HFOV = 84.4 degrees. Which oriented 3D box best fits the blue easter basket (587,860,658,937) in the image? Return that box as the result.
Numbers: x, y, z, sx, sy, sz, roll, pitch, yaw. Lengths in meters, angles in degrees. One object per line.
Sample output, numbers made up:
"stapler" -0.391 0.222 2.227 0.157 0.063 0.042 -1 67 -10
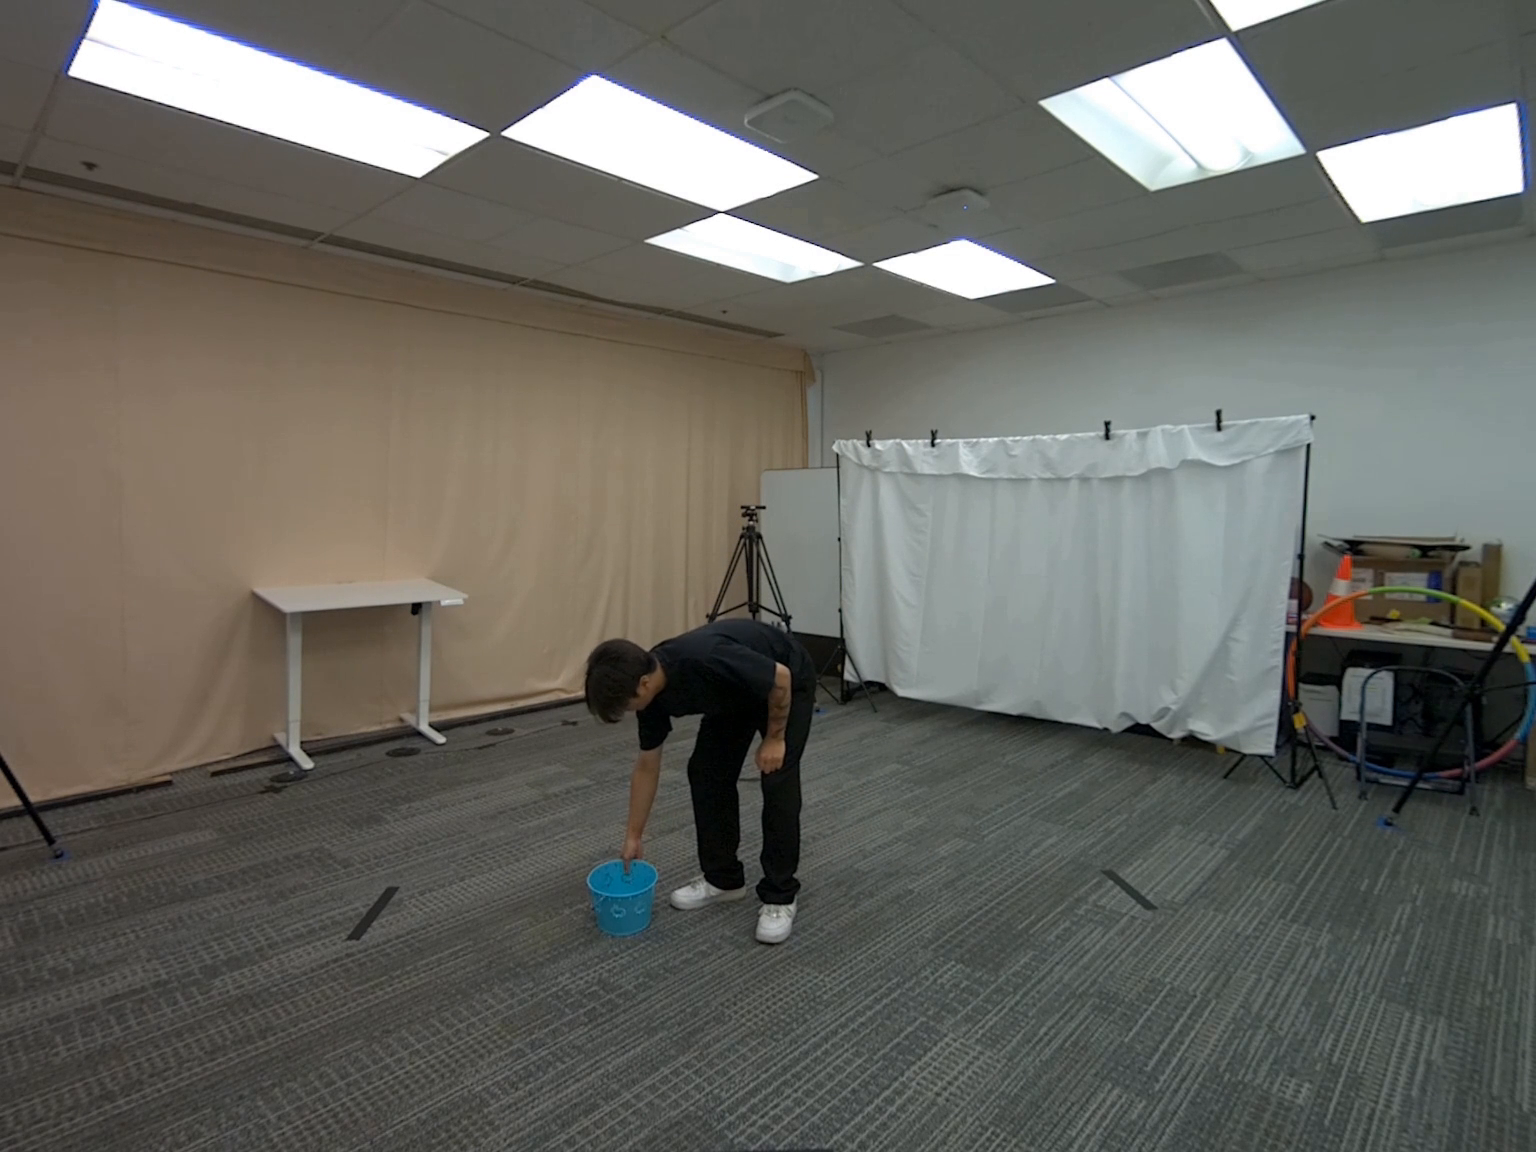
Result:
"blue easter basket" -0.484 1.076 2.816 0.243 0.155 0.245 -2 11 -2
